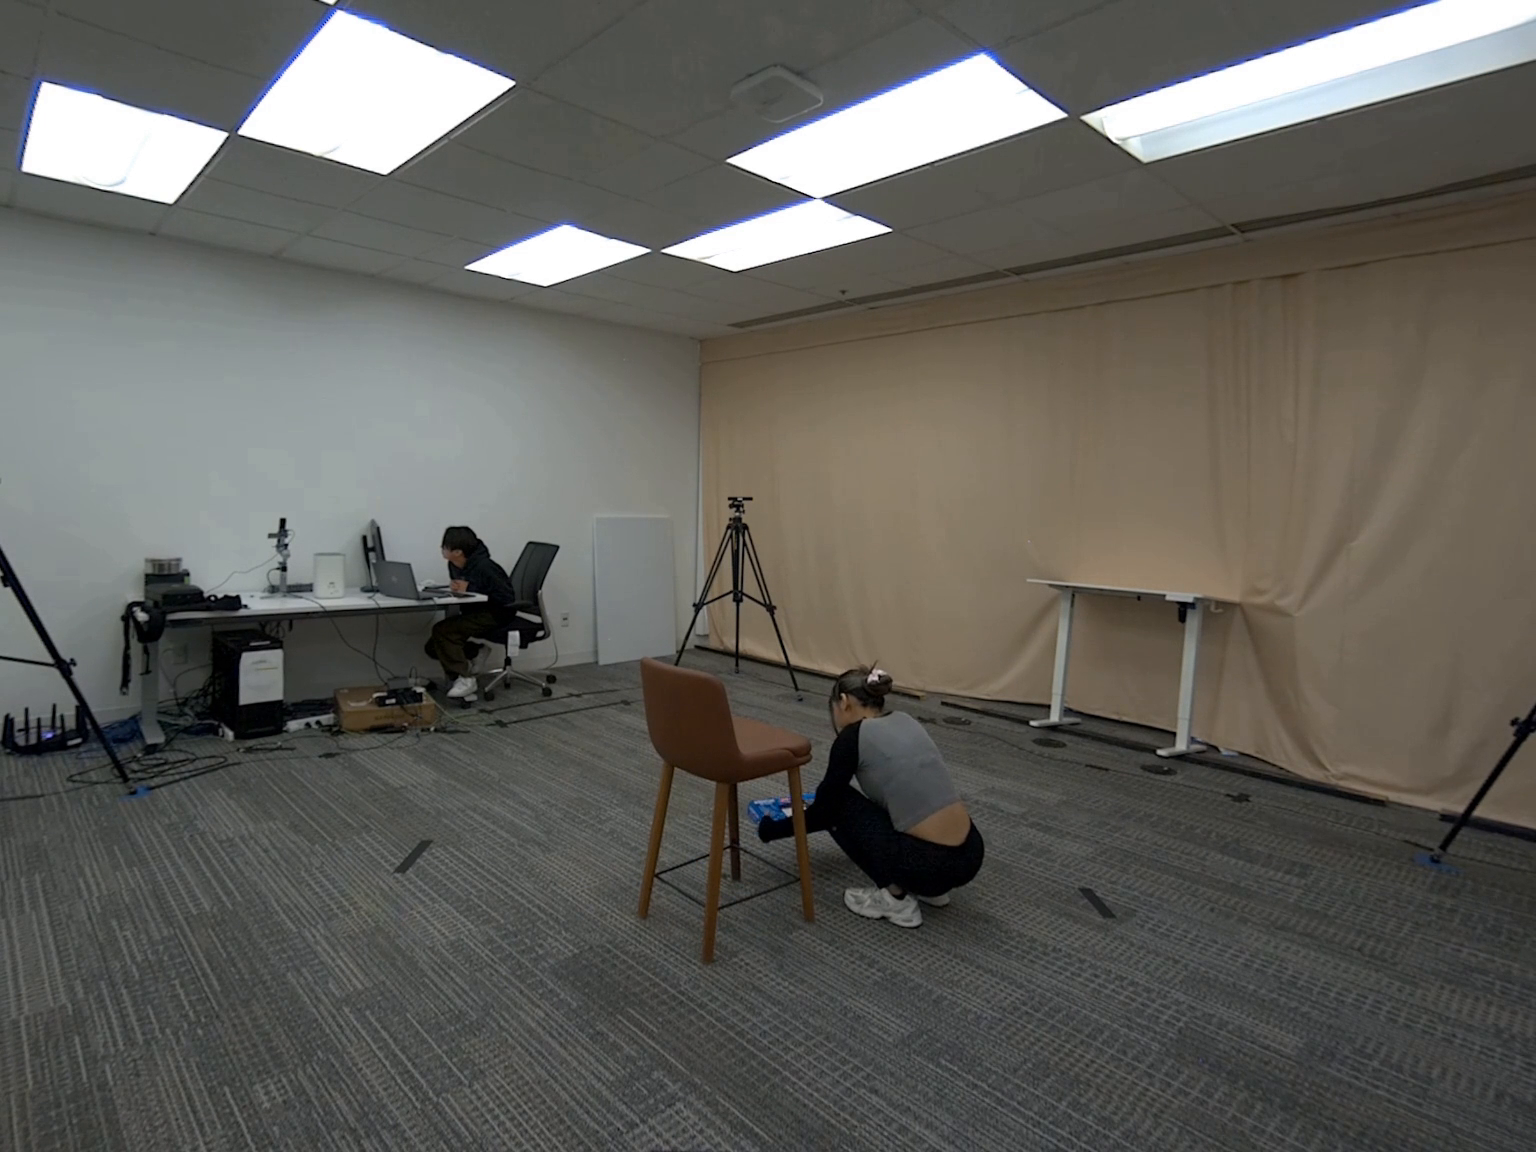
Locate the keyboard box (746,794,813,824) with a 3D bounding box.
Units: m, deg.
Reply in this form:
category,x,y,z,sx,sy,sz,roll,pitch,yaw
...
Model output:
category,x,y,z,sx,sy,sz,roll,pitch,yaw
keyboard box,0.153,0.908,3.226,0.428,0.058,0.181,0,17,-28
